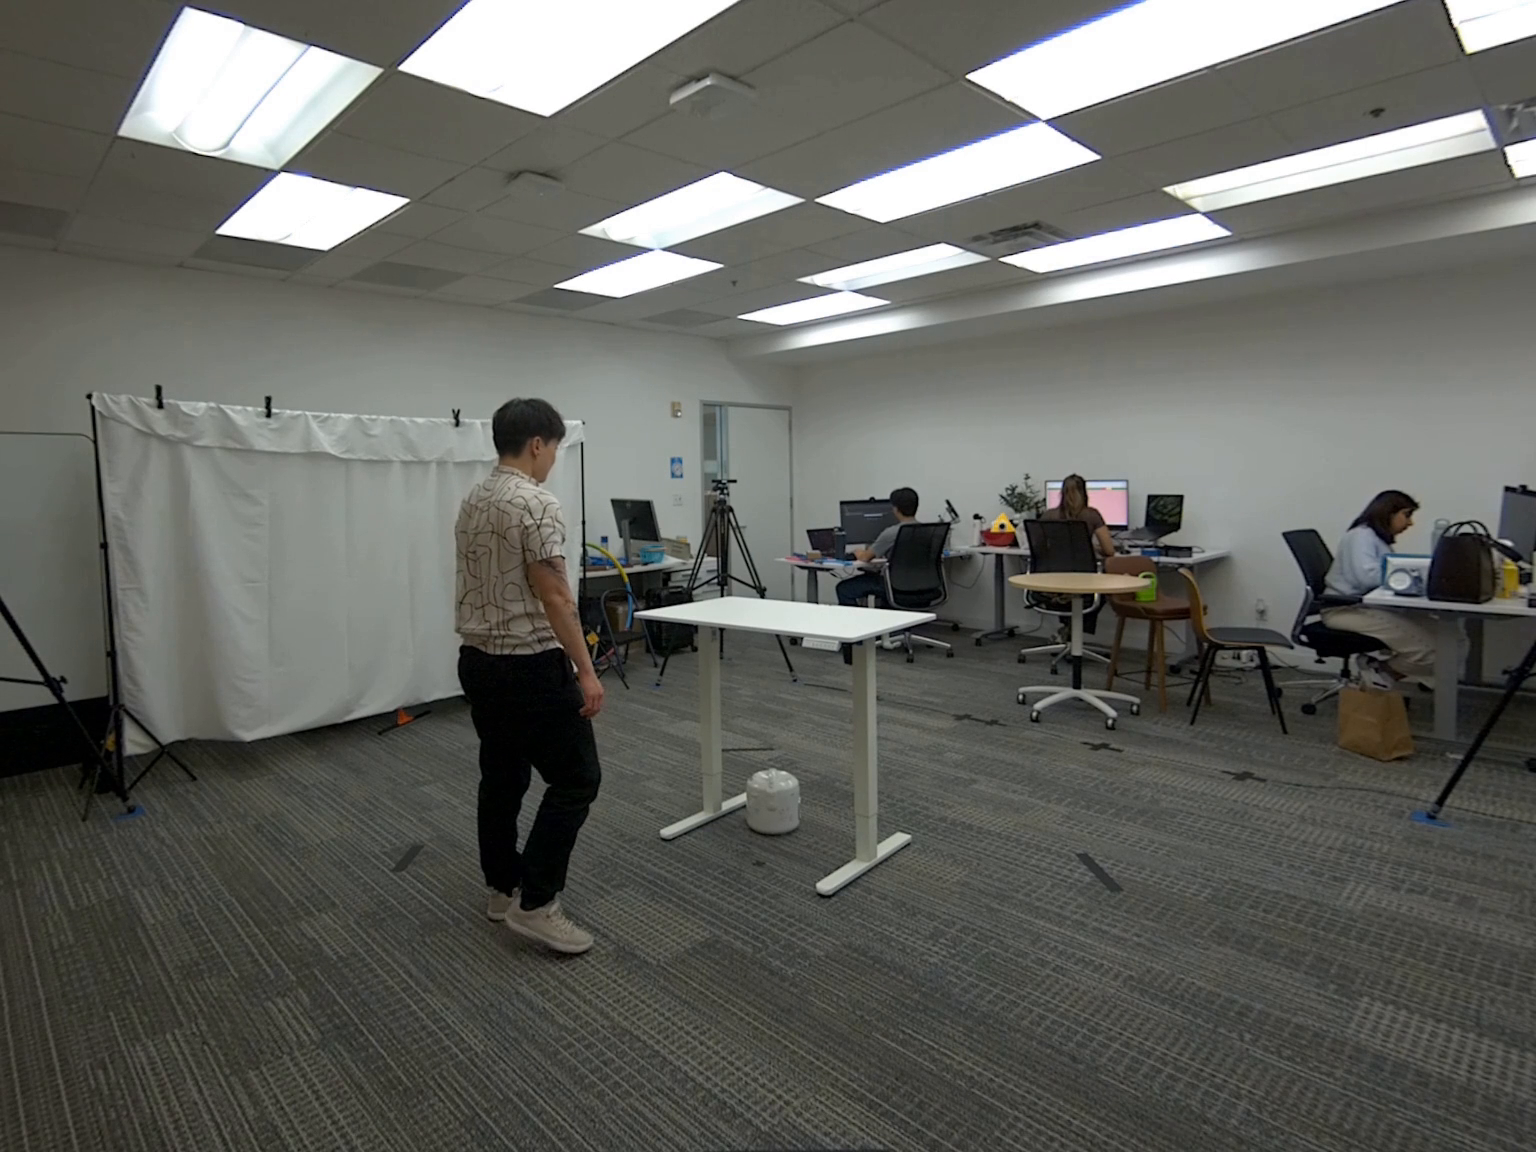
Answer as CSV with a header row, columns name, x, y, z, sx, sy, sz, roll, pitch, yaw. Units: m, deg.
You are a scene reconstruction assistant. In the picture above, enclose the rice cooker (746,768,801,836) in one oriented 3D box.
name,x,y,z,sx,sy,sz,roll,pitch,yaw
rice cooker,0.024,0.893,3.429,0.219,0.232,0.220,-1,5,5
